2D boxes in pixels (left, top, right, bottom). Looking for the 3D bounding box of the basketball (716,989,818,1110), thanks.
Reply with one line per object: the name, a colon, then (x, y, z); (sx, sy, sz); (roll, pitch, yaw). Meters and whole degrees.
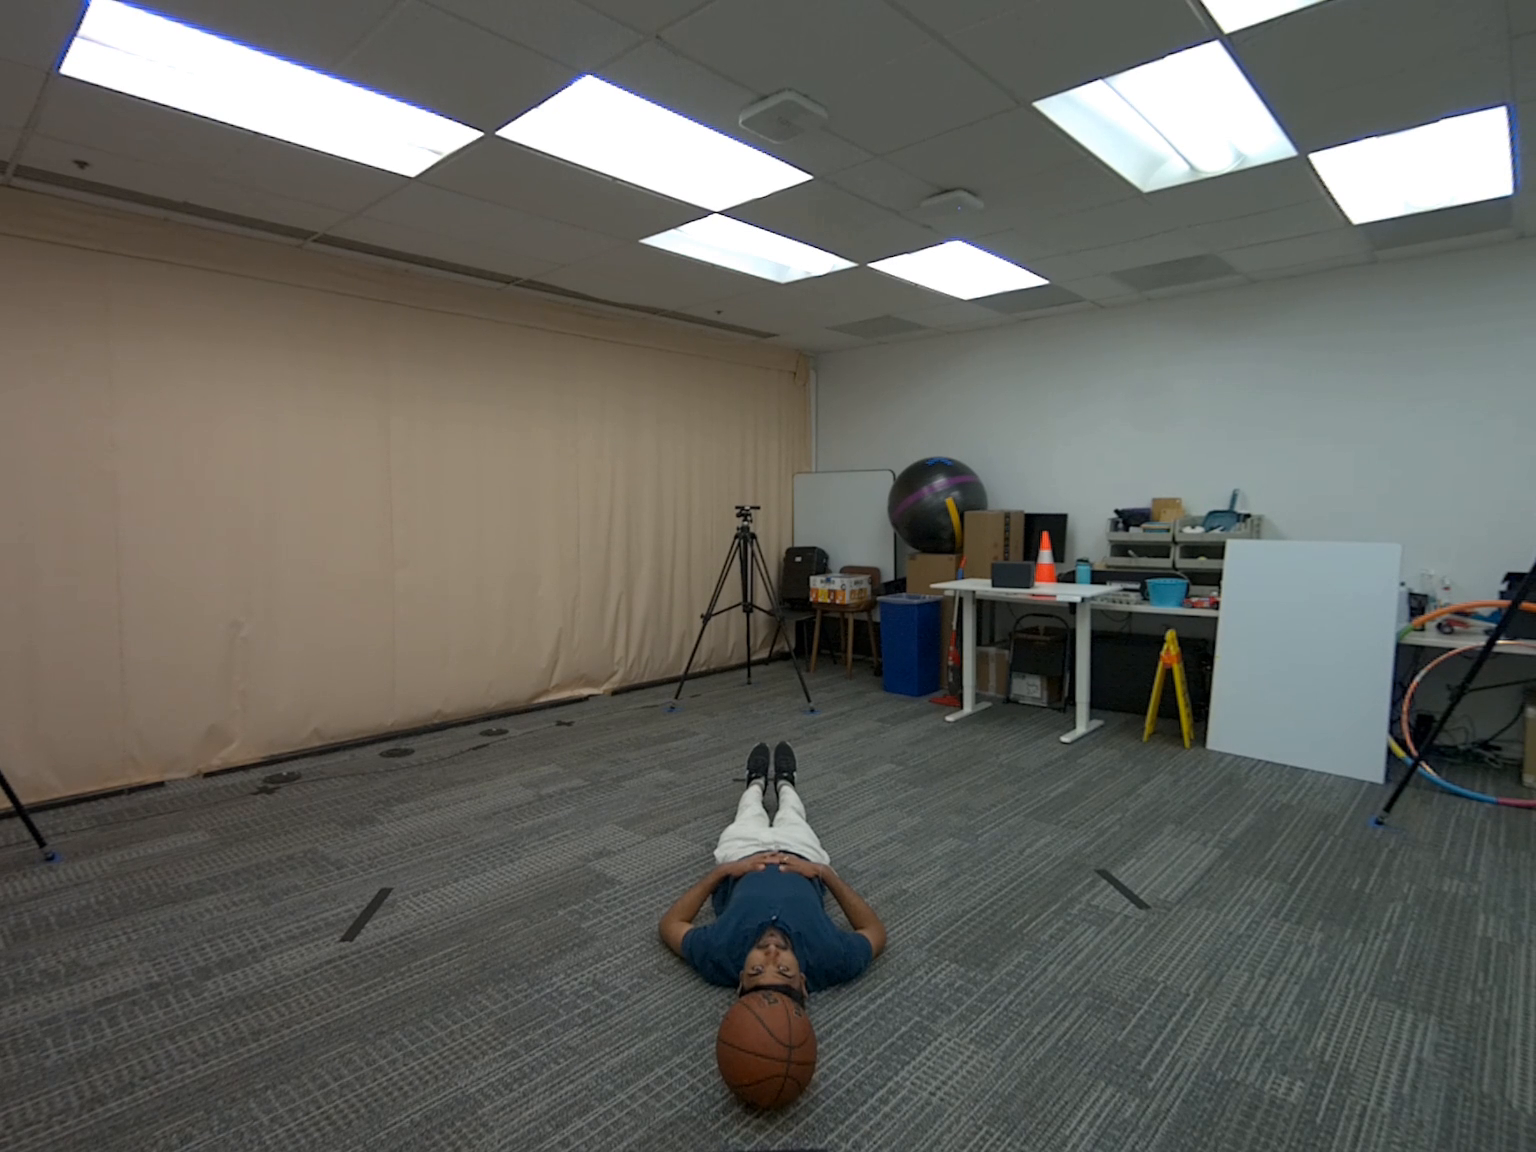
basketball: (0.000, 1.109, 1.972); (0.236, 0.235, 0.237); (0, 4, -2)
